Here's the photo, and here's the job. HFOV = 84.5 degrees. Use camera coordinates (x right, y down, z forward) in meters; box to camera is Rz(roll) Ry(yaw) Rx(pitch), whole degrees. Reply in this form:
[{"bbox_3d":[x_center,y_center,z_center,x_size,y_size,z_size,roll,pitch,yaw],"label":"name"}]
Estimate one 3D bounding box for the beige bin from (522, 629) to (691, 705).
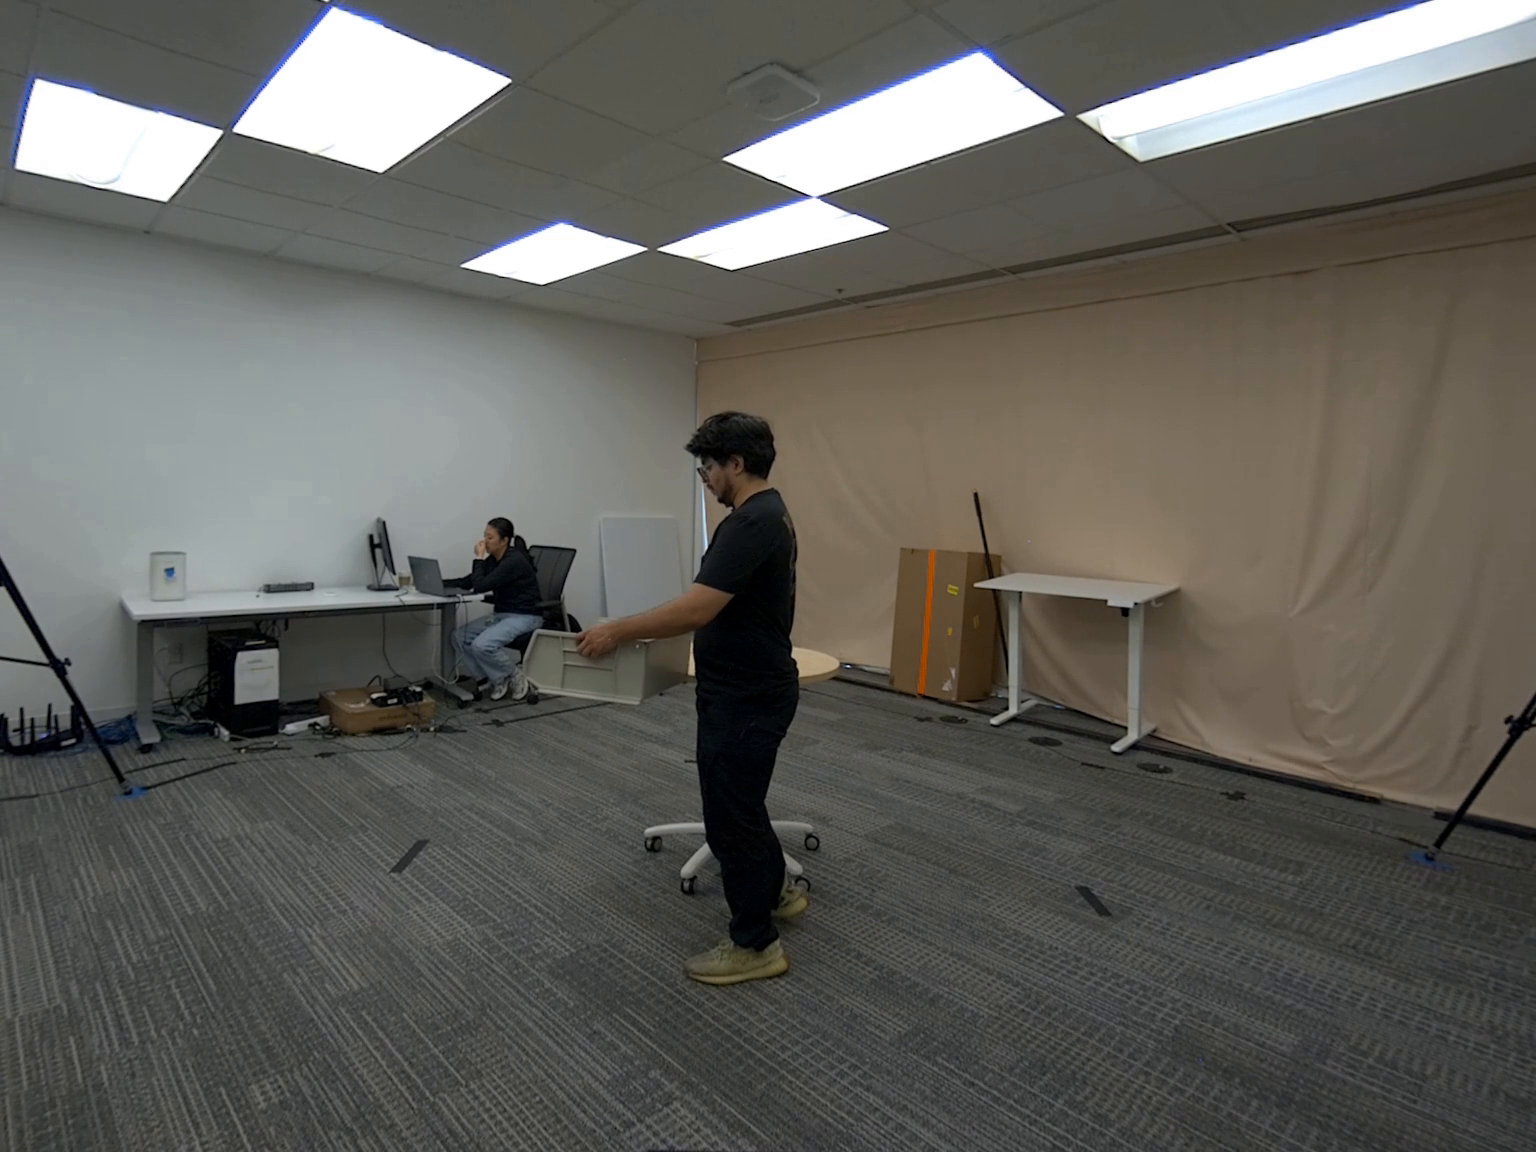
[{"bbox_3d":[-0.471,0.248,2.552,0.383,0.189,0.417,5,3,16],"label":"beige bin"}]
